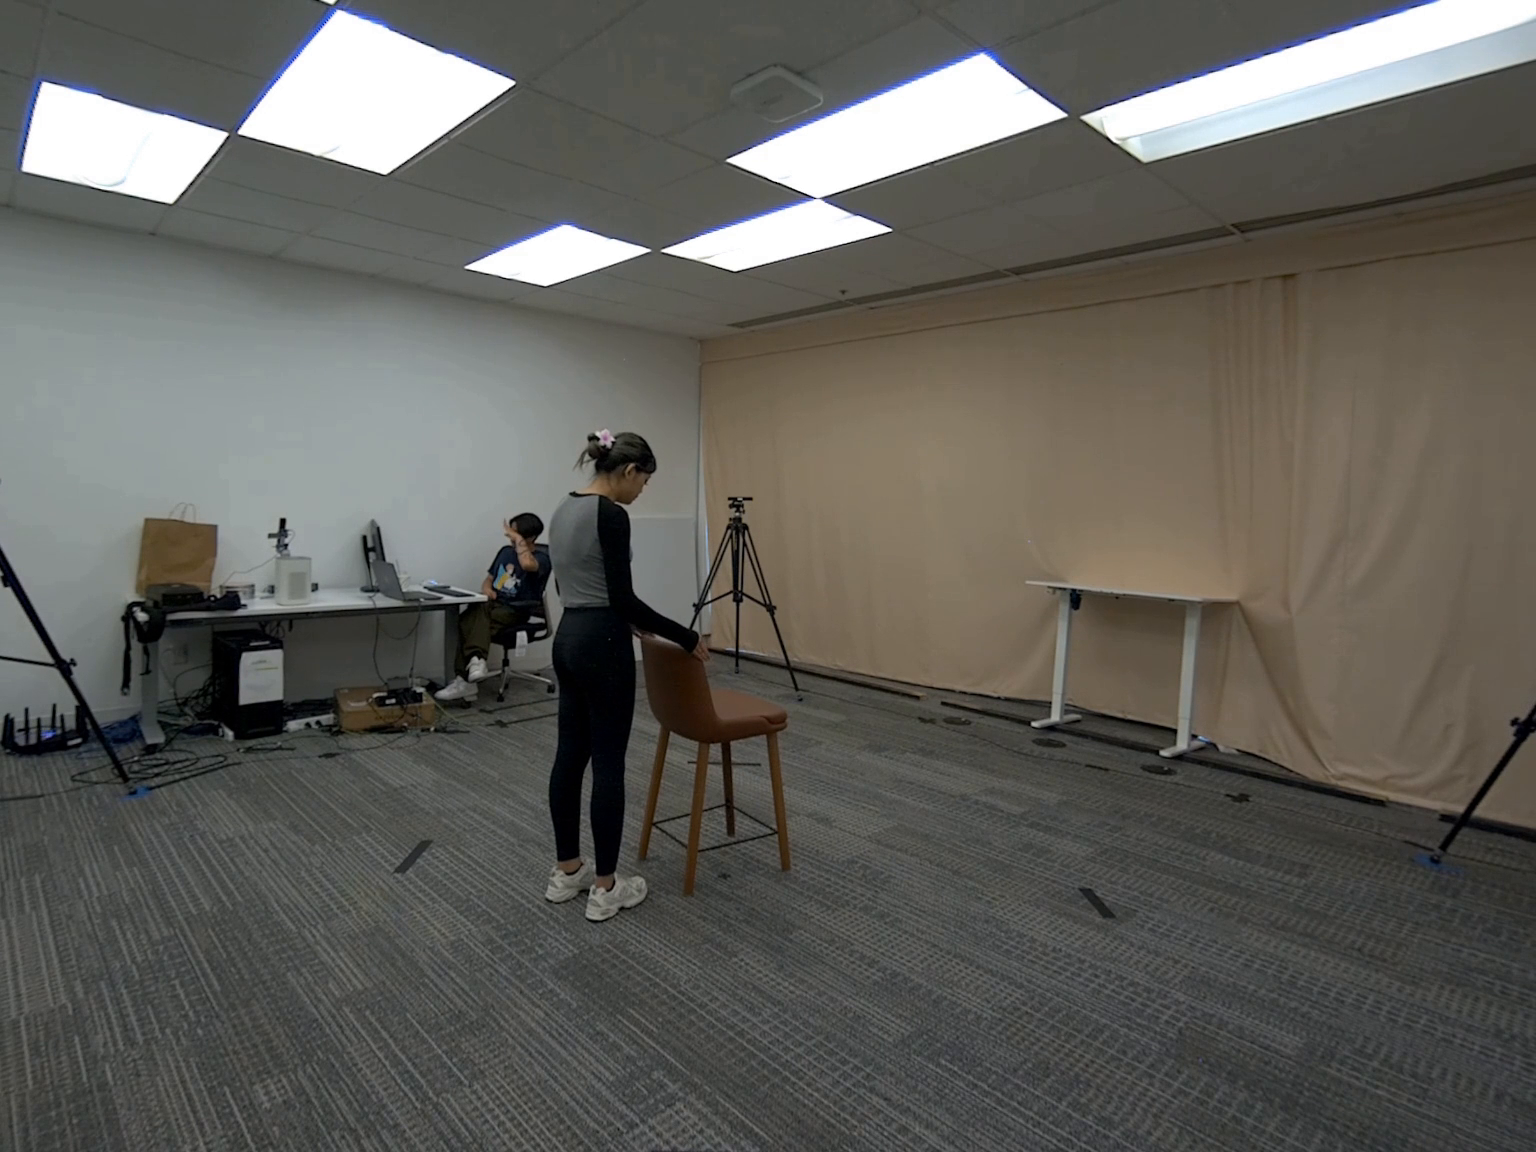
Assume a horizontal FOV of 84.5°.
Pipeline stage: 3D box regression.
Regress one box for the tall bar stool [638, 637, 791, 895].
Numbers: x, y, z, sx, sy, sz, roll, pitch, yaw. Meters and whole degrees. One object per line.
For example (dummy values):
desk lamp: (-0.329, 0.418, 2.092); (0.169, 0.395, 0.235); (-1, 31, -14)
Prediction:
tall bar stool: (-0.217, 0.661, 3.181); (0.458, 0.887, 0.467); (-4, 6, -34)
